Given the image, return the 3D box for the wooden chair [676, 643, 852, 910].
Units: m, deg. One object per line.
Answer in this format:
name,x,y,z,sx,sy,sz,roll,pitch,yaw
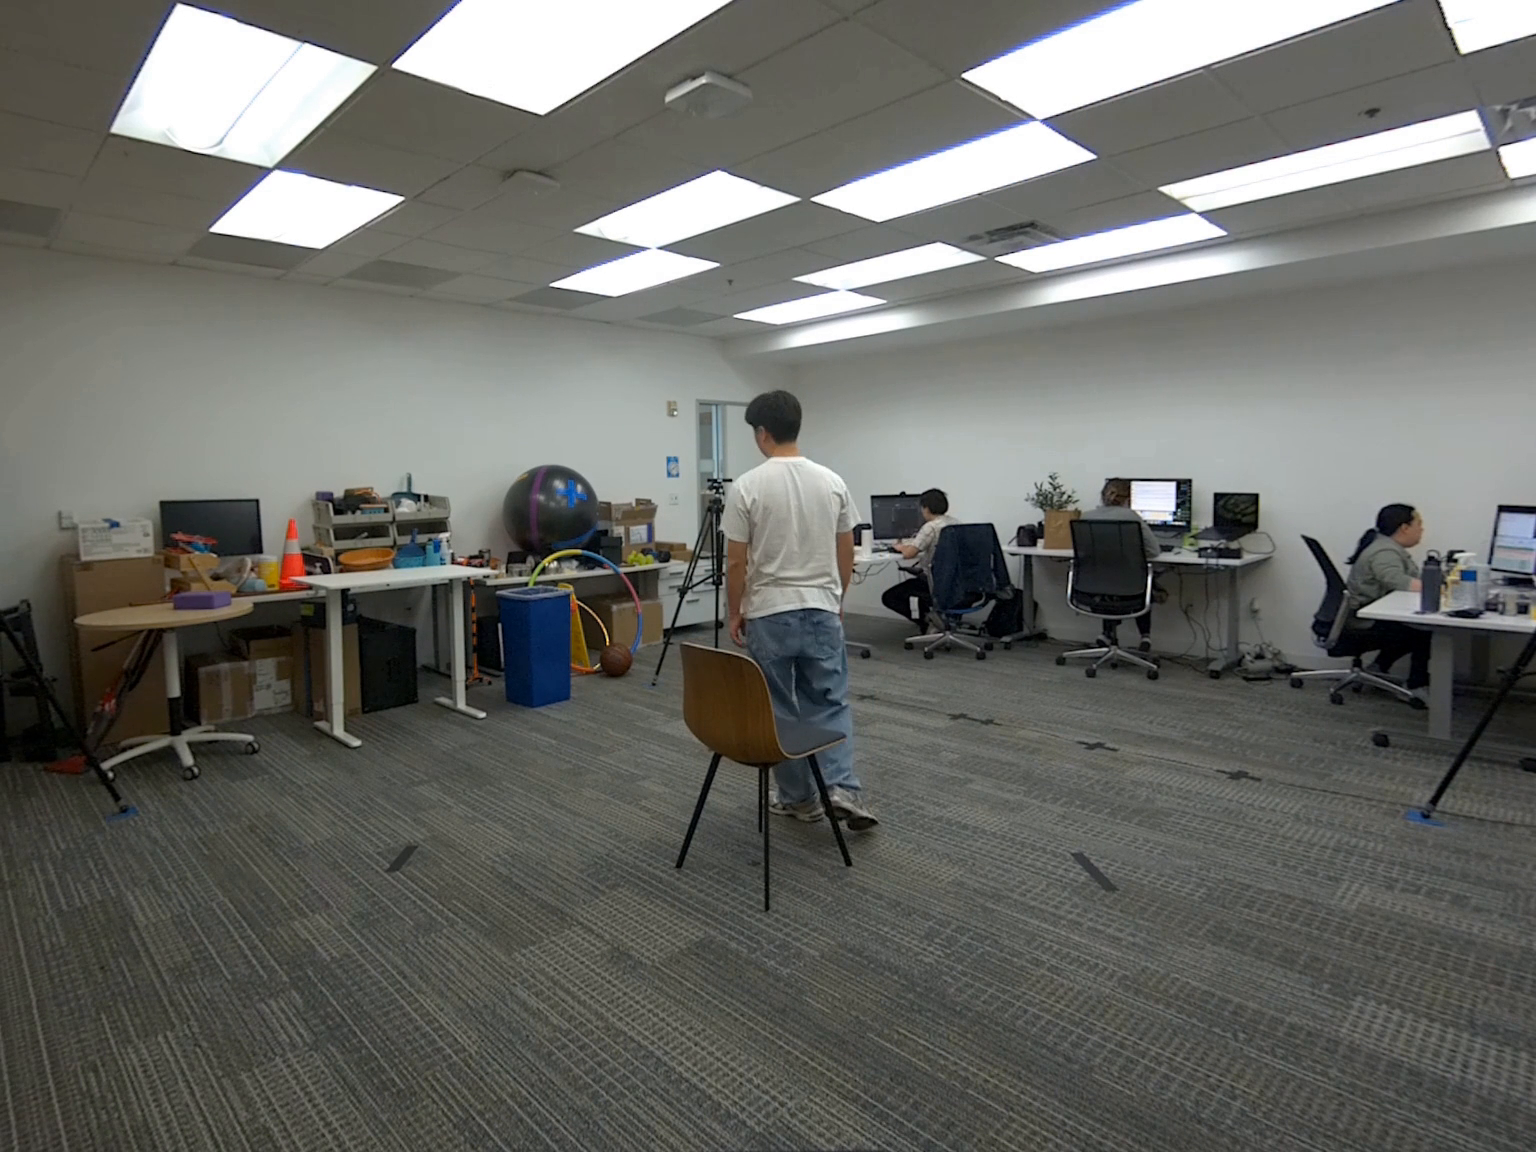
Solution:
wooden chair,-0.017,0.626,3.046,0.493,0.871,0.511,4,10,44
